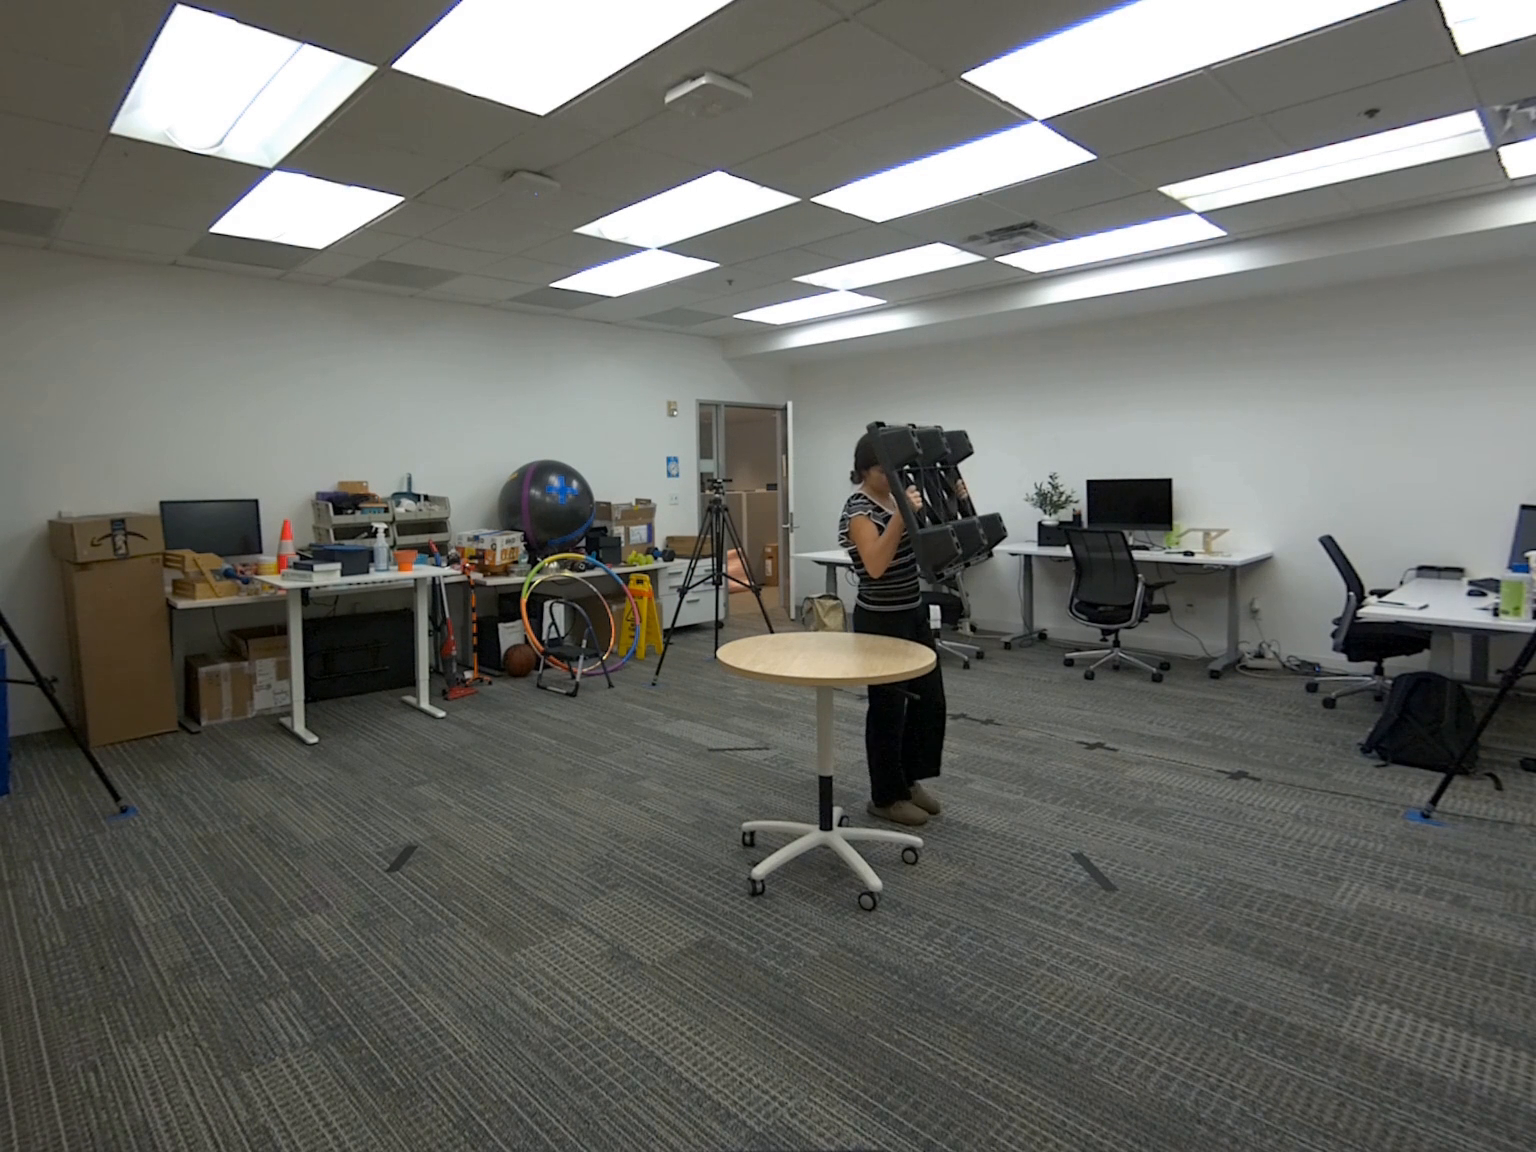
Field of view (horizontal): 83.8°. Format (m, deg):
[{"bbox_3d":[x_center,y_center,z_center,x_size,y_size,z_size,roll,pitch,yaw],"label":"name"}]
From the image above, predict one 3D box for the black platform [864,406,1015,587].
[{"bbox_3d":[0.679,-0.324,3.269,0.145,0.609,0.790,-22,-4,29],"label":"black platform"}]
